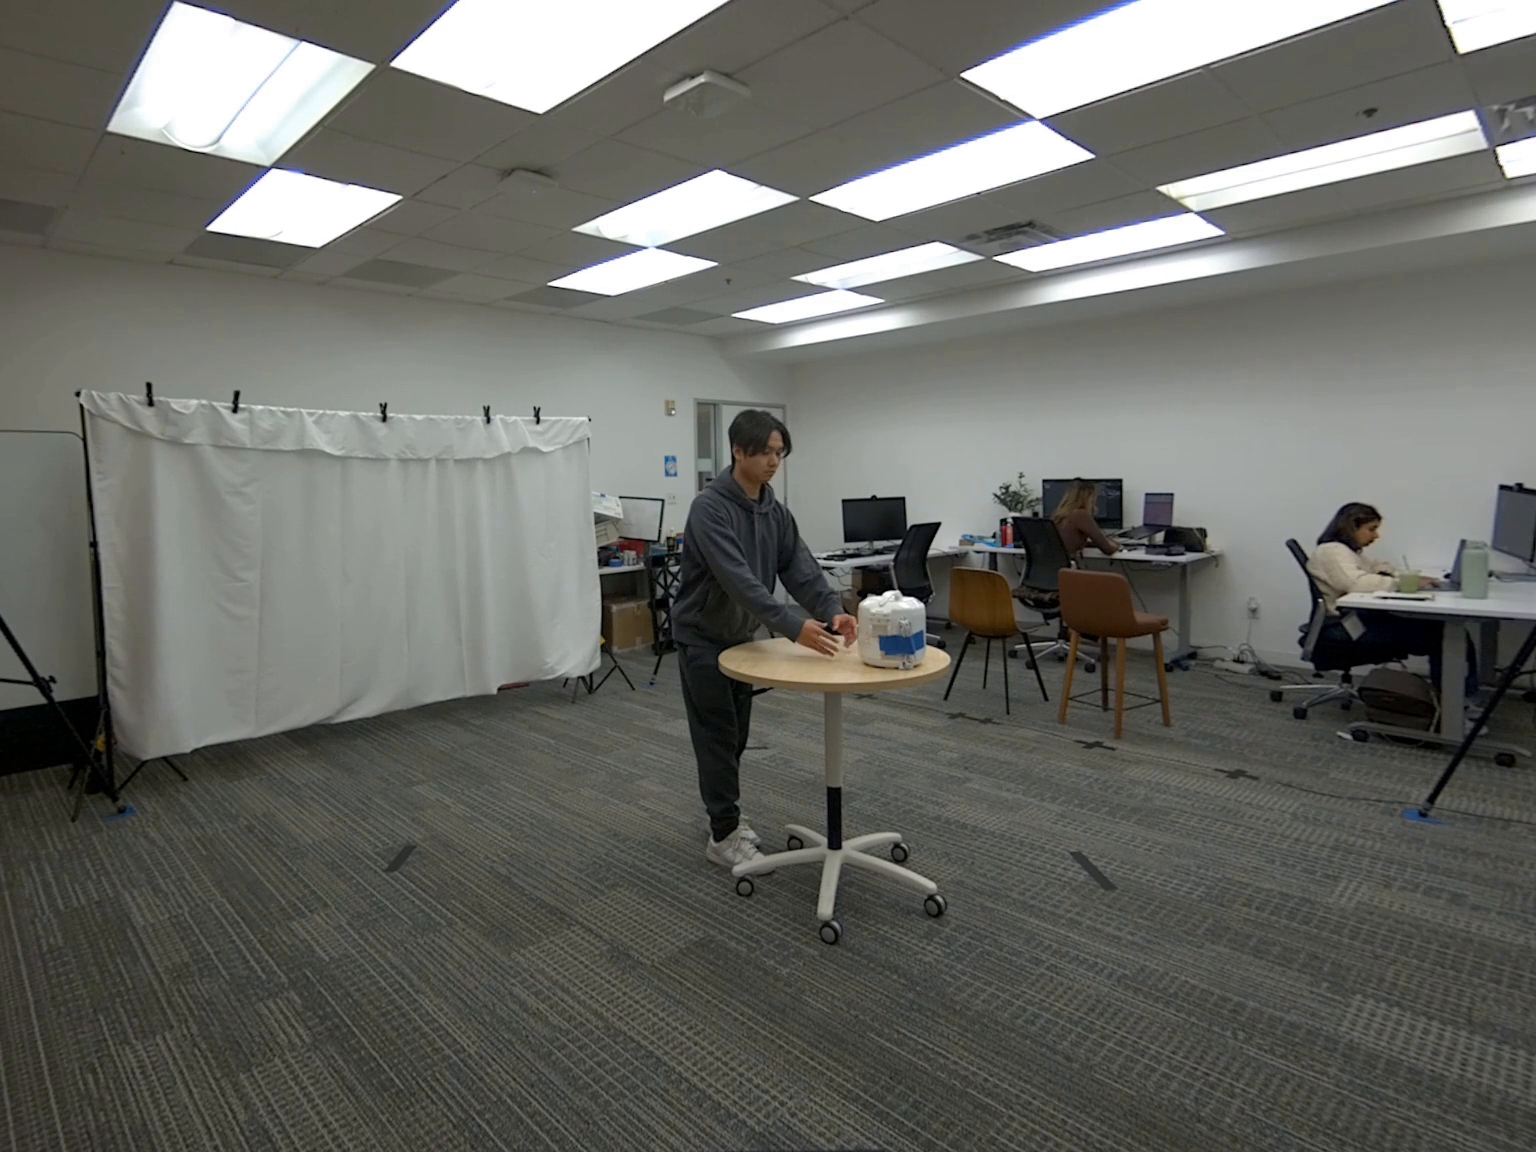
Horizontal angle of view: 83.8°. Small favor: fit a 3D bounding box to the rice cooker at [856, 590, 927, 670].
[{"bbox_3d":[0.394,0.165,2.716,0.223,0.232,0.216,3,6,30],"label":"rice cooker"}]
